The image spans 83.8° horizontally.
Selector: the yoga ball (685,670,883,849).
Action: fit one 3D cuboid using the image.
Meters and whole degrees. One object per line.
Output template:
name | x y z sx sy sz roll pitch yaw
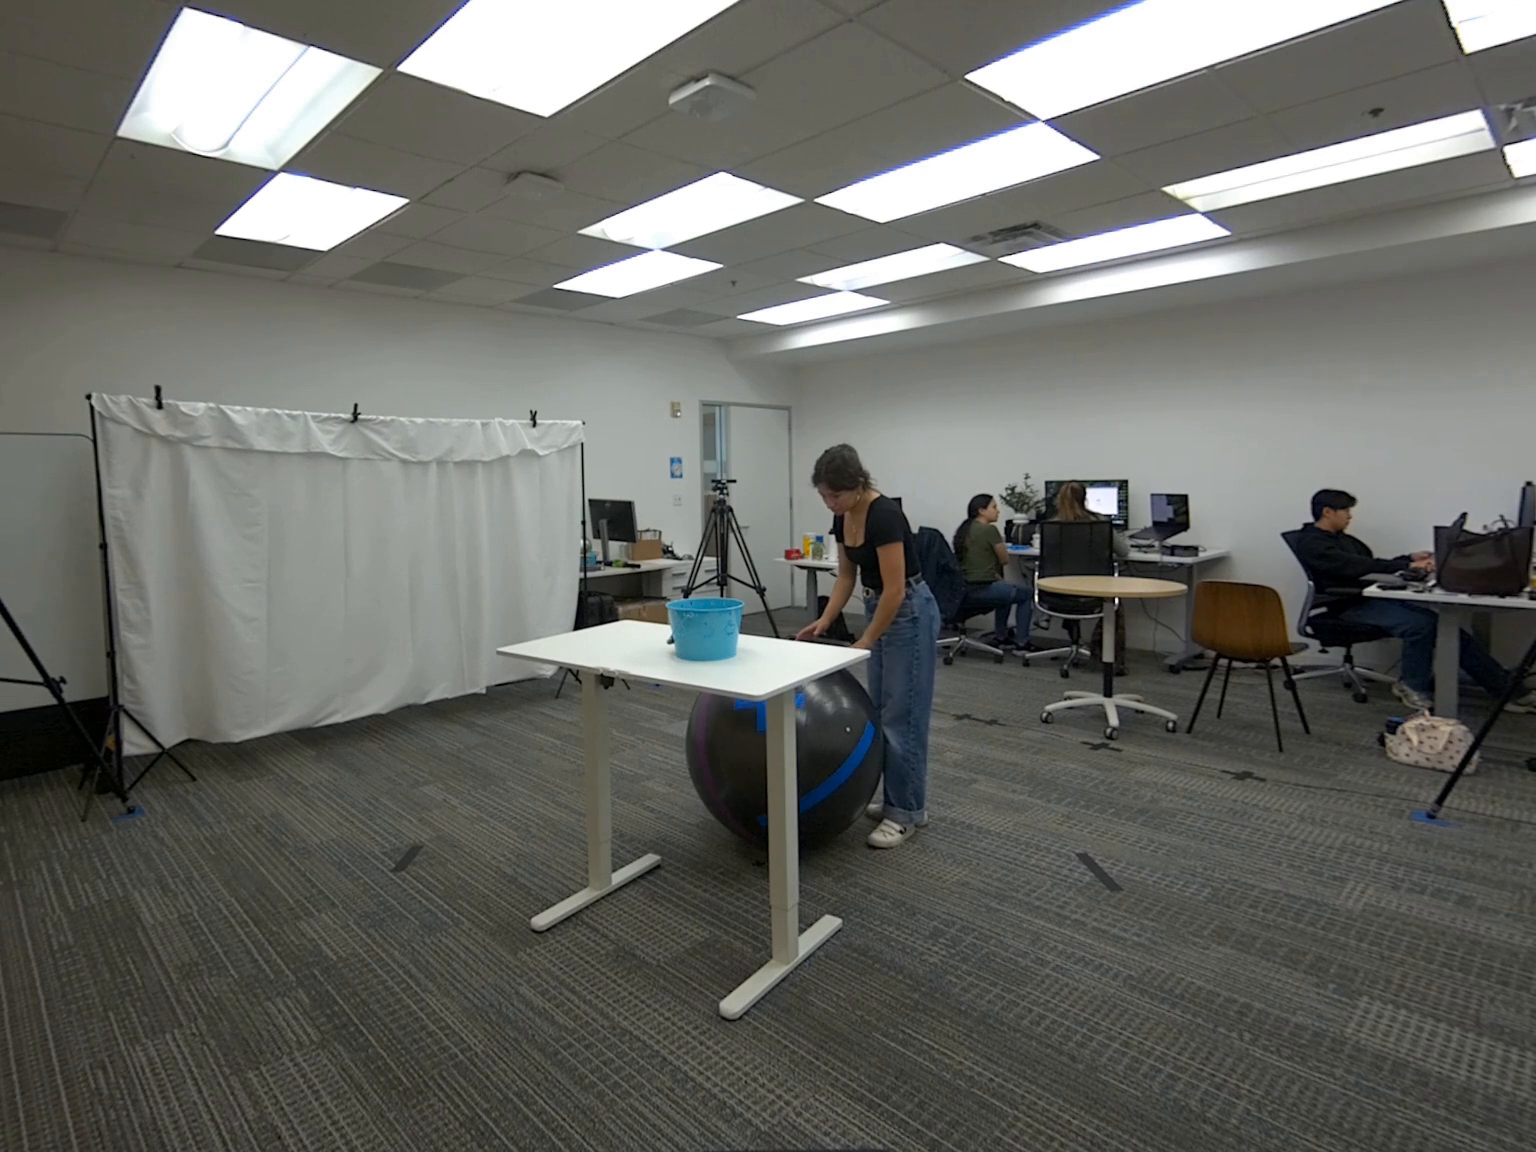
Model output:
yoga ball | 0.059 0.653 3.293 0.757 0.755 0.762 -1 5 -2
